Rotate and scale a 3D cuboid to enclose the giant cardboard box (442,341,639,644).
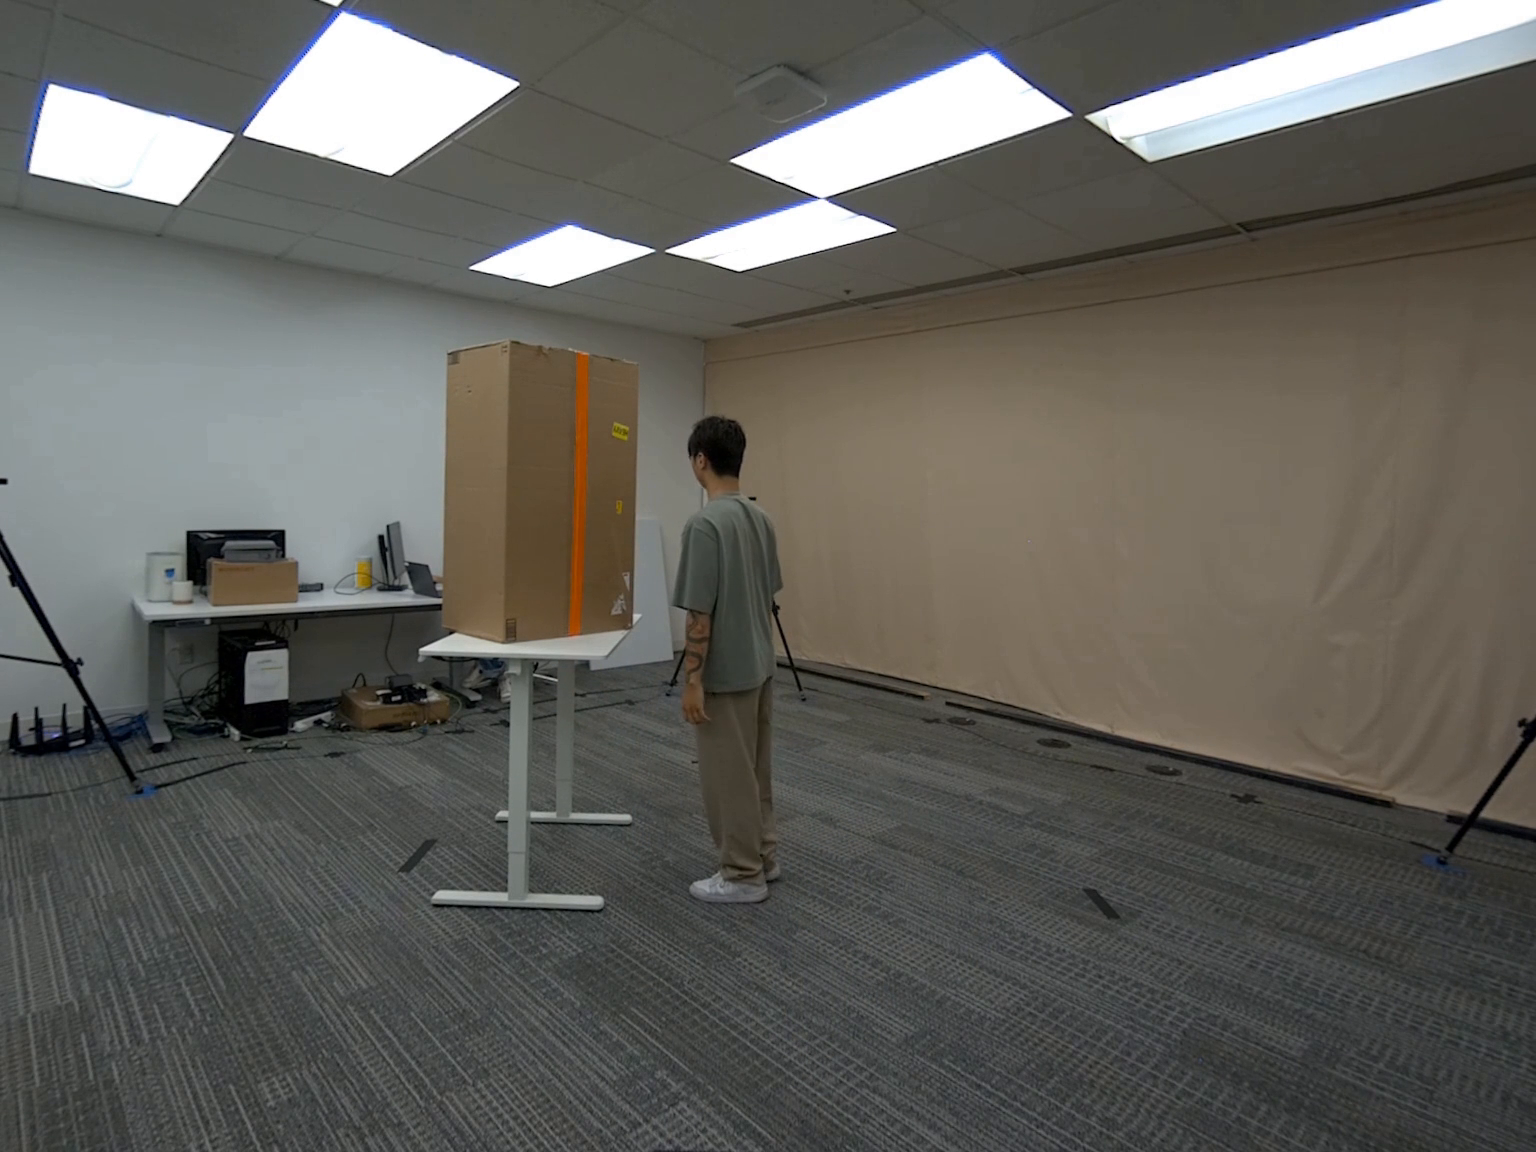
[{"bbox_3d":[-0.855,-0.308,3.166,0.437,1.024,0.564,5,4,41],"label":"giant cardboard box"}]
